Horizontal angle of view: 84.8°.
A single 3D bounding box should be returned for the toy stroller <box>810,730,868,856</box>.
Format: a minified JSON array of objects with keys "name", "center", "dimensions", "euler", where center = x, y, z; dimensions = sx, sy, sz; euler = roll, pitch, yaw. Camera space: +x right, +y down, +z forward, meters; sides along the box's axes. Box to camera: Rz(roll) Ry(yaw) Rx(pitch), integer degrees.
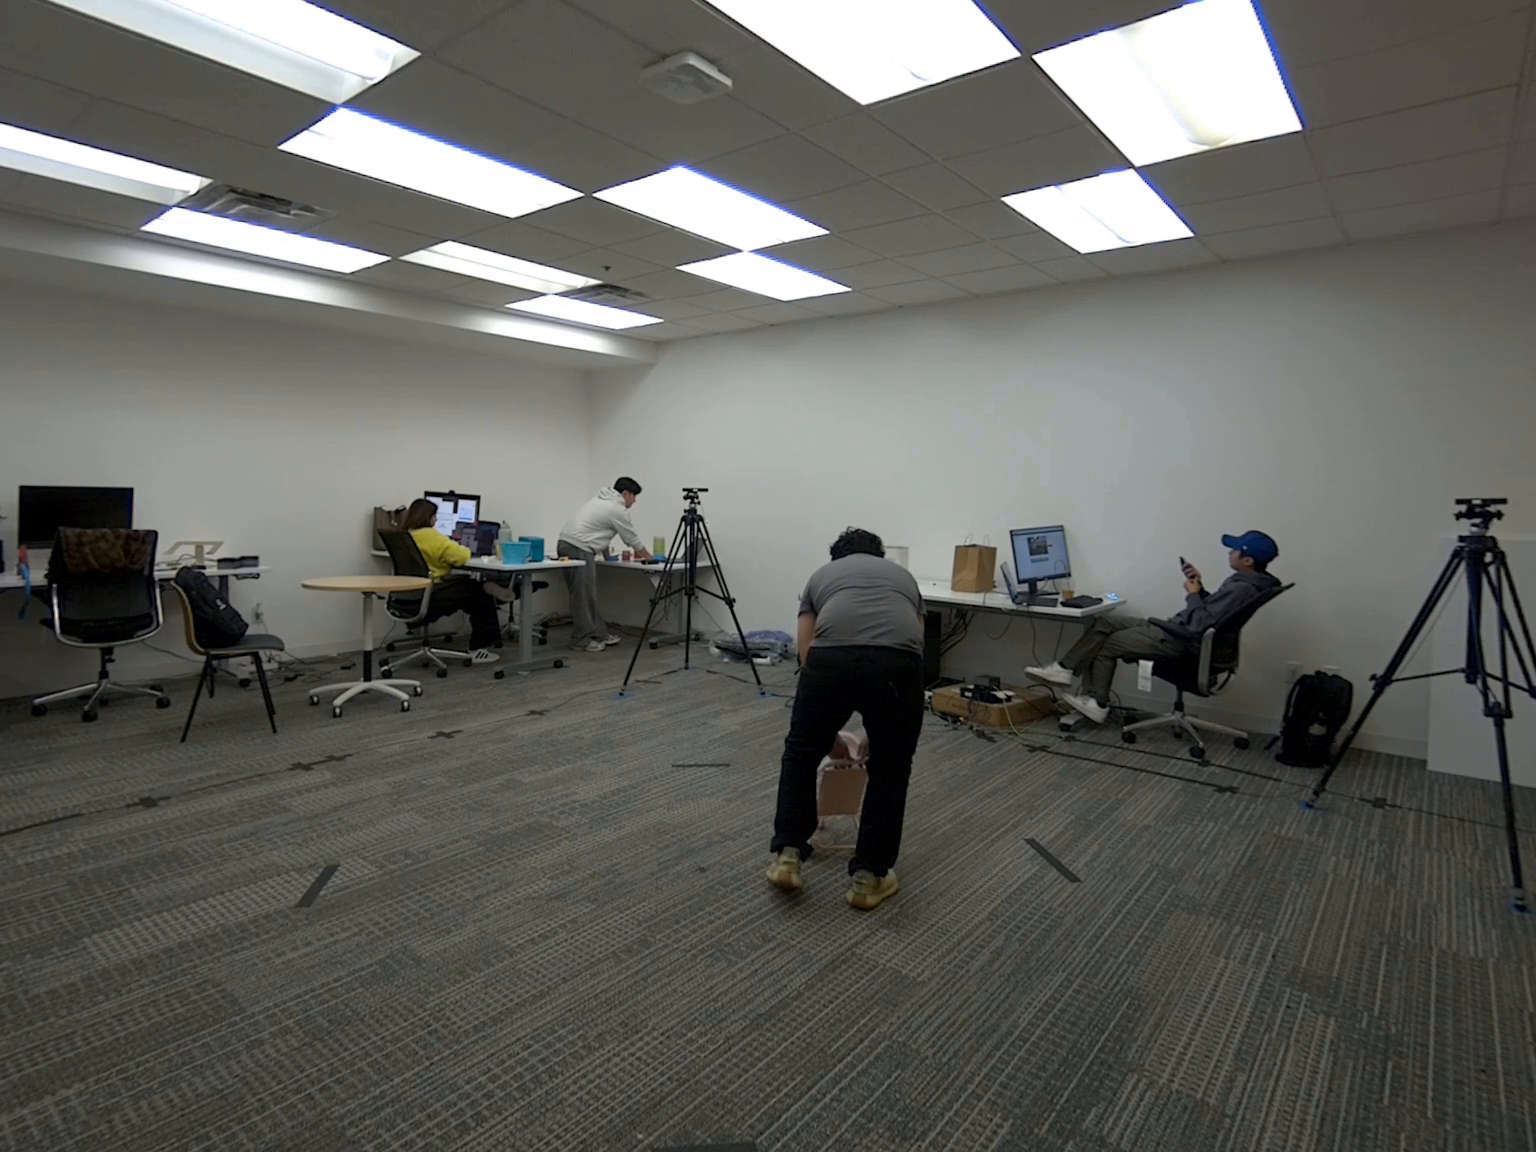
[{"name":"toy stroller","center":[0.252,0.831,3.322],"dimensions":[0.280,0.526,0.349],"euler":[2,20,-6]}]
